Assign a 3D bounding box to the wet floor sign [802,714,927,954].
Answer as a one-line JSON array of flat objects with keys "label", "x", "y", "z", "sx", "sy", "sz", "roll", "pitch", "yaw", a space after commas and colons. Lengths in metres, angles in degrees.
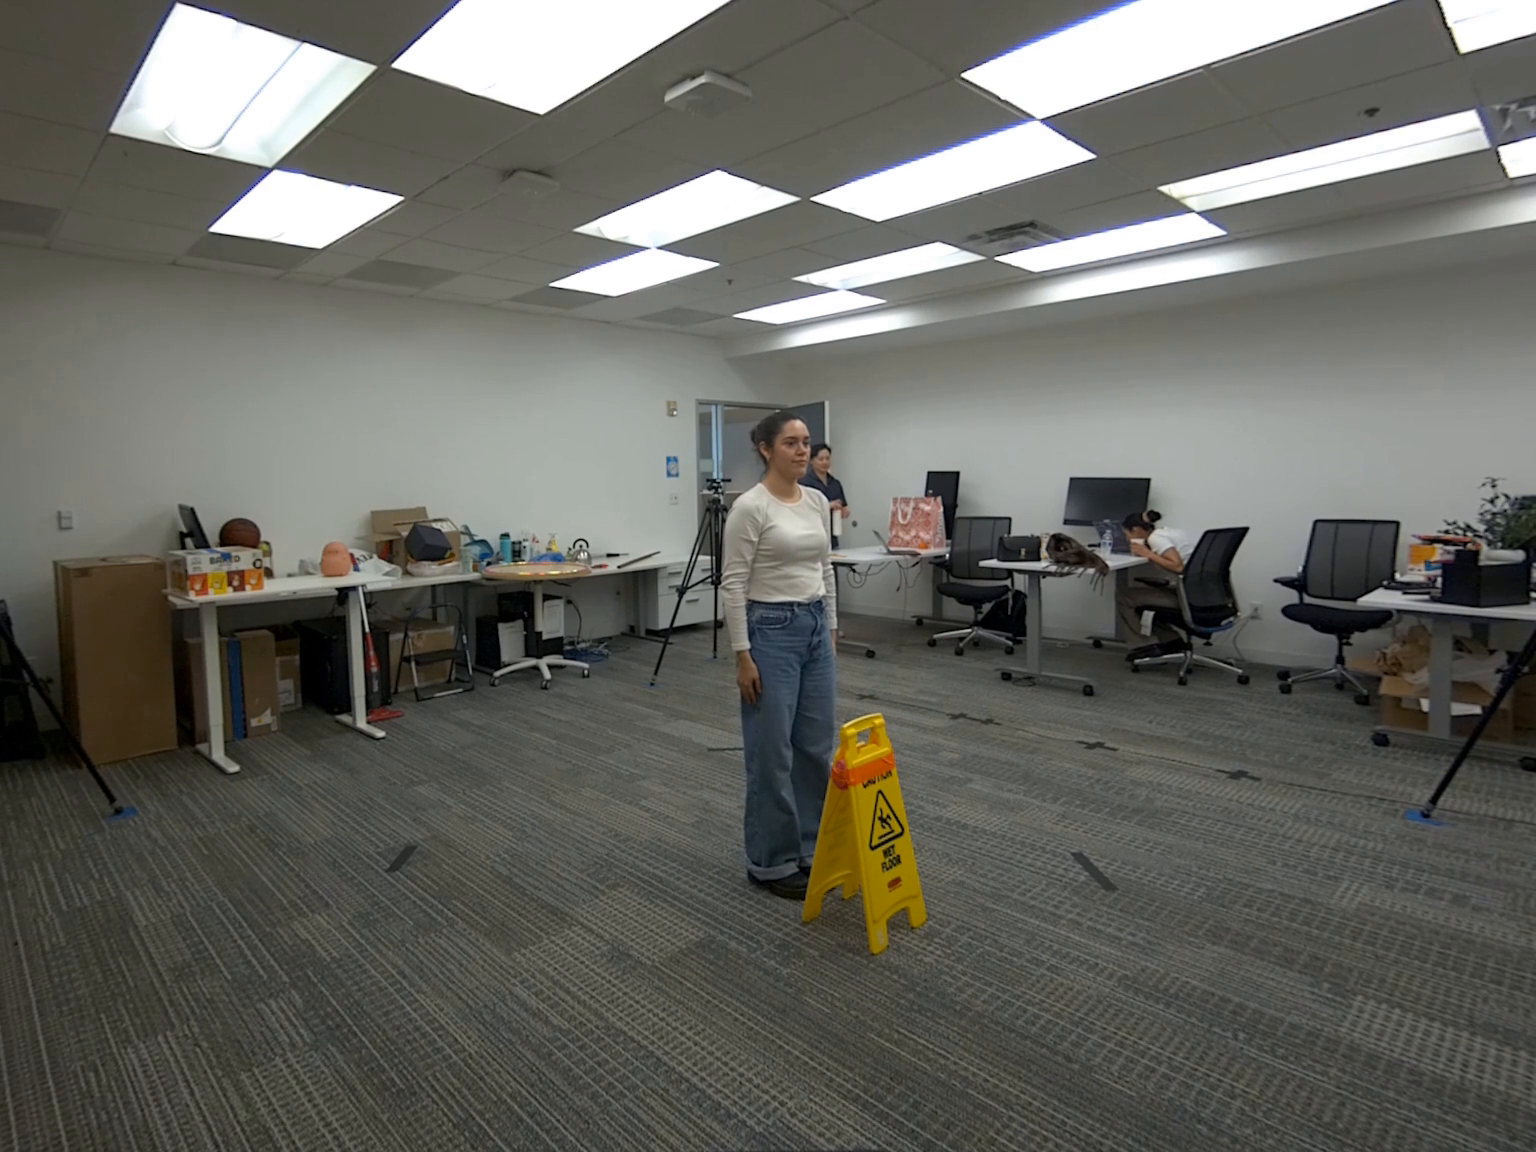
[{"label": "wet floor sign", "x": 0.302, "y": 0.764, "z": 2.665, "sx": 0.299, "sy": 0.643, "sz": 0.275, "roll": 5, "pitch": 8, "yaw": 45}]
